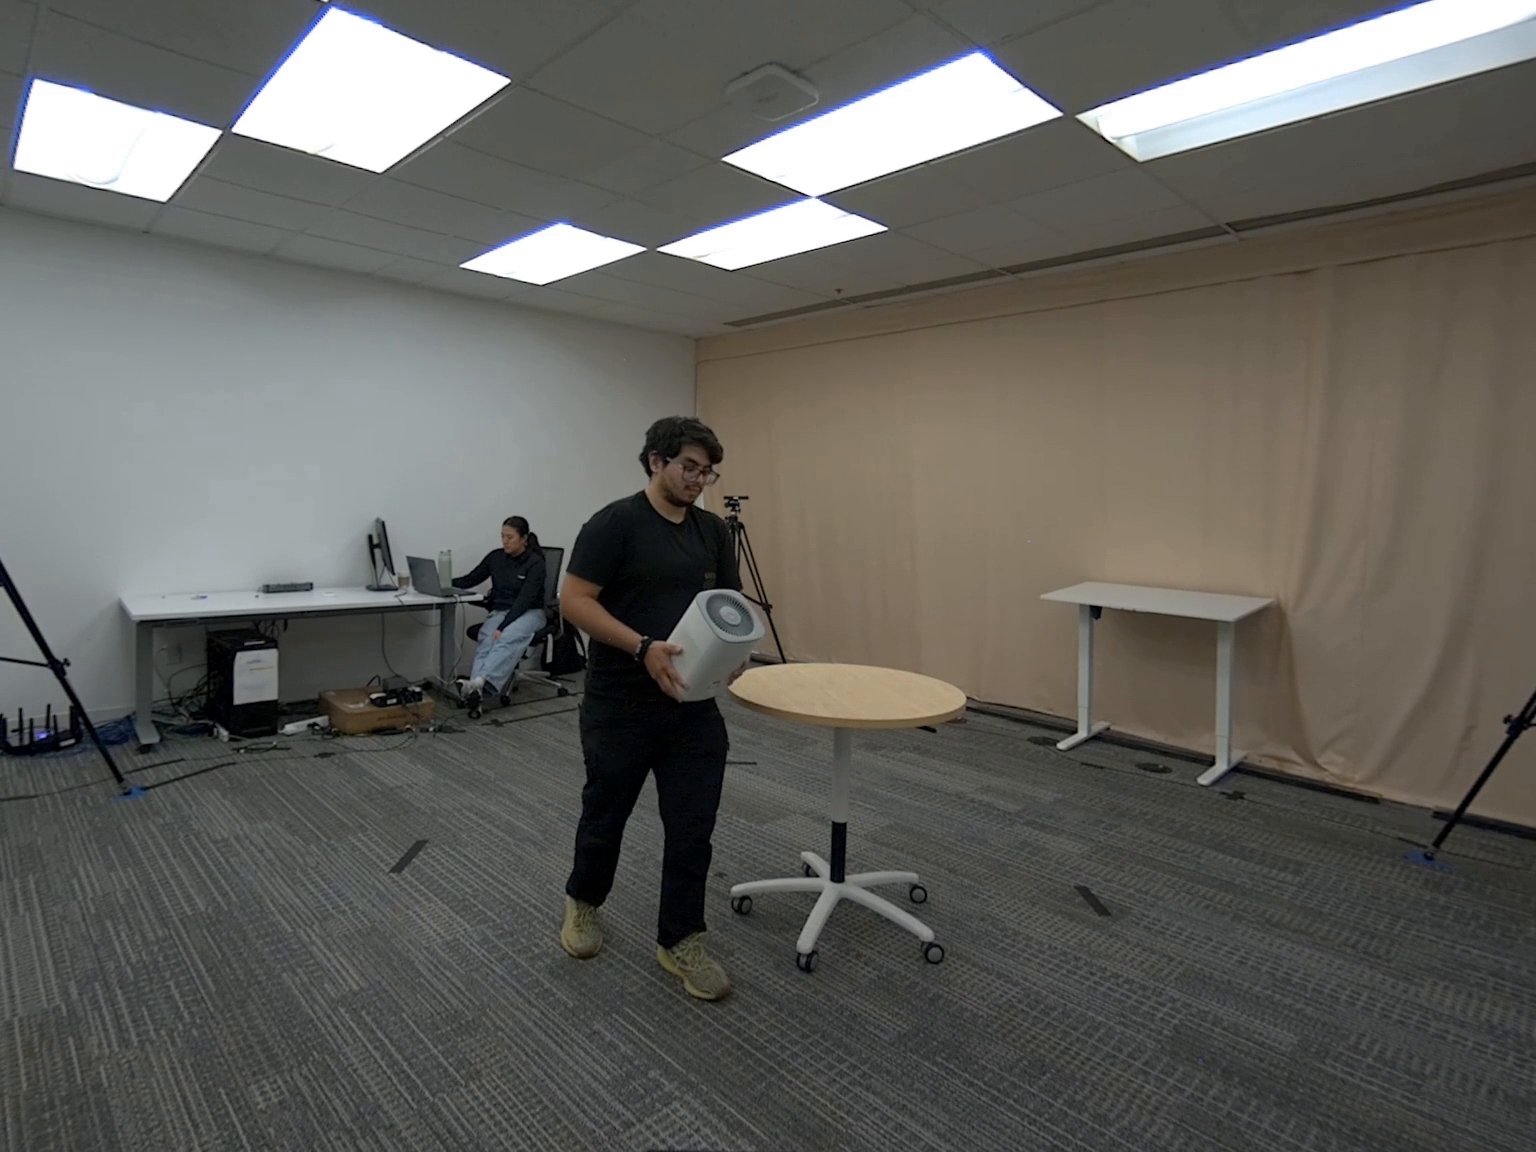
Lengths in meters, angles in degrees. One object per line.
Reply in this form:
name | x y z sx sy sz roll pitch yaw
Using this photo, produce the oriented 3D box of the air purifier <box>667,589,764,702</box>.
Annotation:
air purifier | -0.170 0.183 2.187 0.164 0.261 0.179 -2 48 -43
